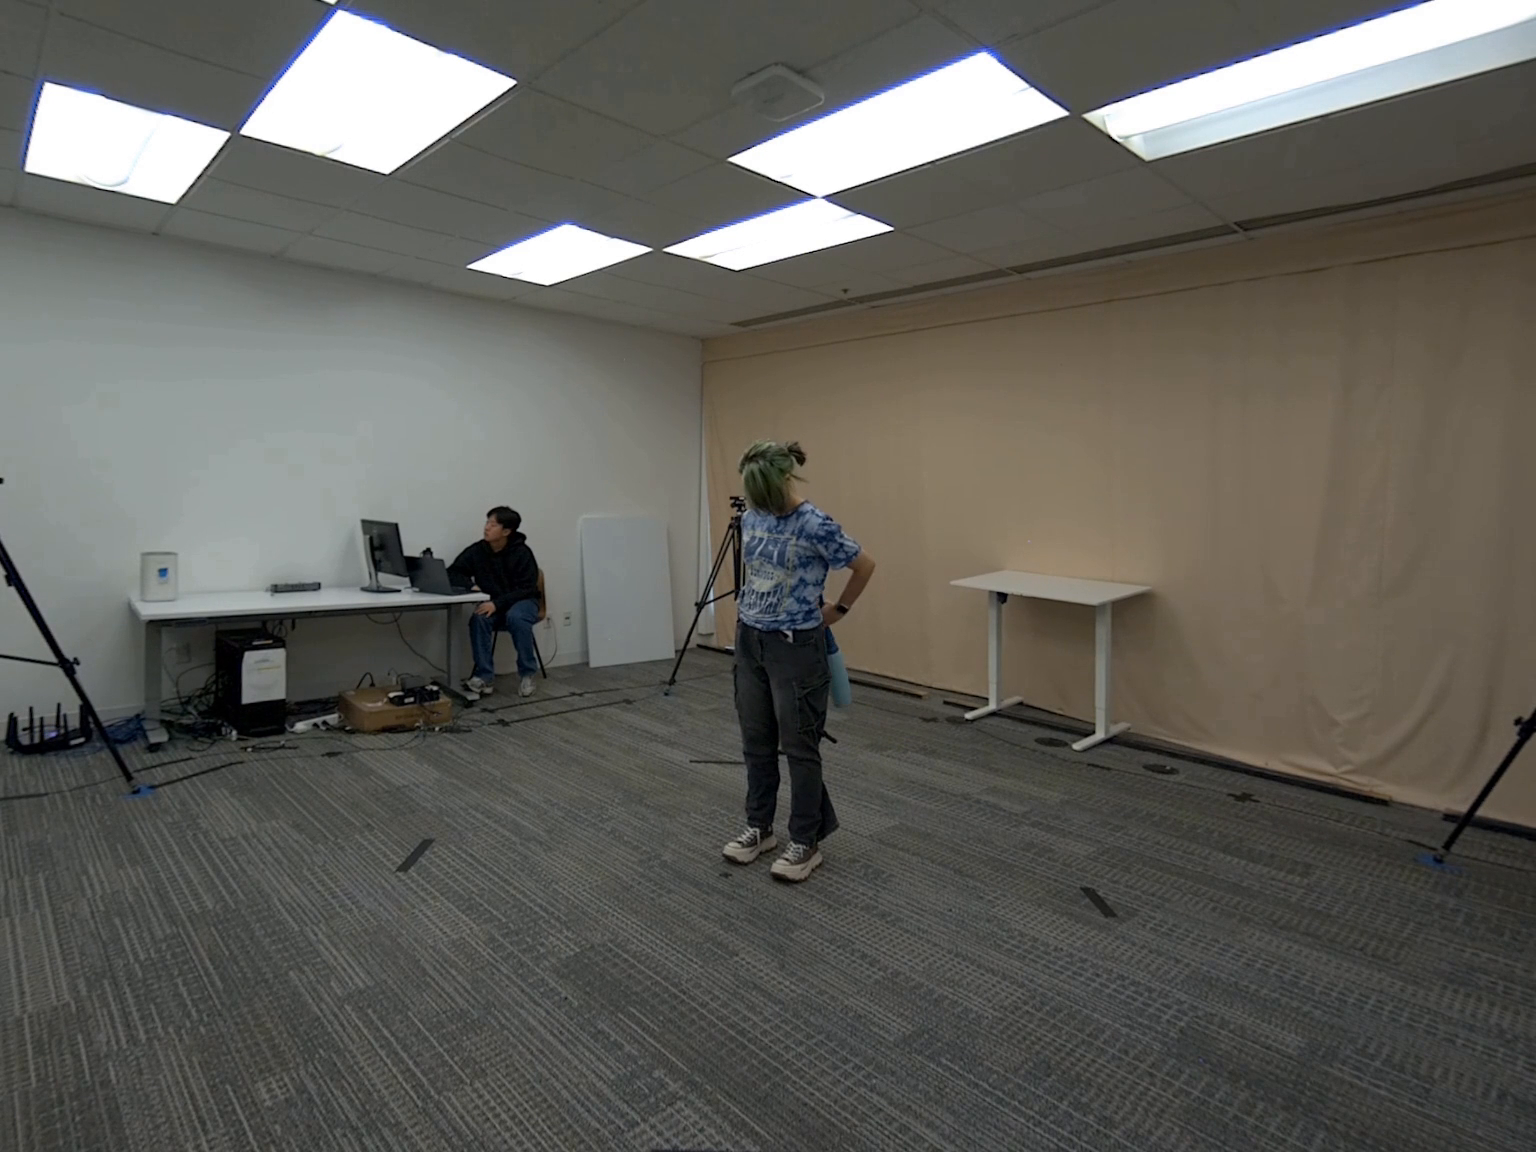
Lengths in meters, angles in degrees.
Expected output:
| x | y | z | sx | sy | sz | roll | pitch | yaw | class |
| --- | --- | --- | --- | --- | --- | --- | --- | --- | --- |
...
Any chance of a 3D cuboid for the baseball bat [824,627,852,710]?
| x | y | z | sx | sy | sz | roll | pitch | yaw | class |
| --- | --- | --- | --- | --- | --- | --- | --- | --- | --- |
| 0.234 | 0.285 | 3.360 | 0.089 | 0.533 | 0.090 | -14 | 20 | 4 | baseball bat |
